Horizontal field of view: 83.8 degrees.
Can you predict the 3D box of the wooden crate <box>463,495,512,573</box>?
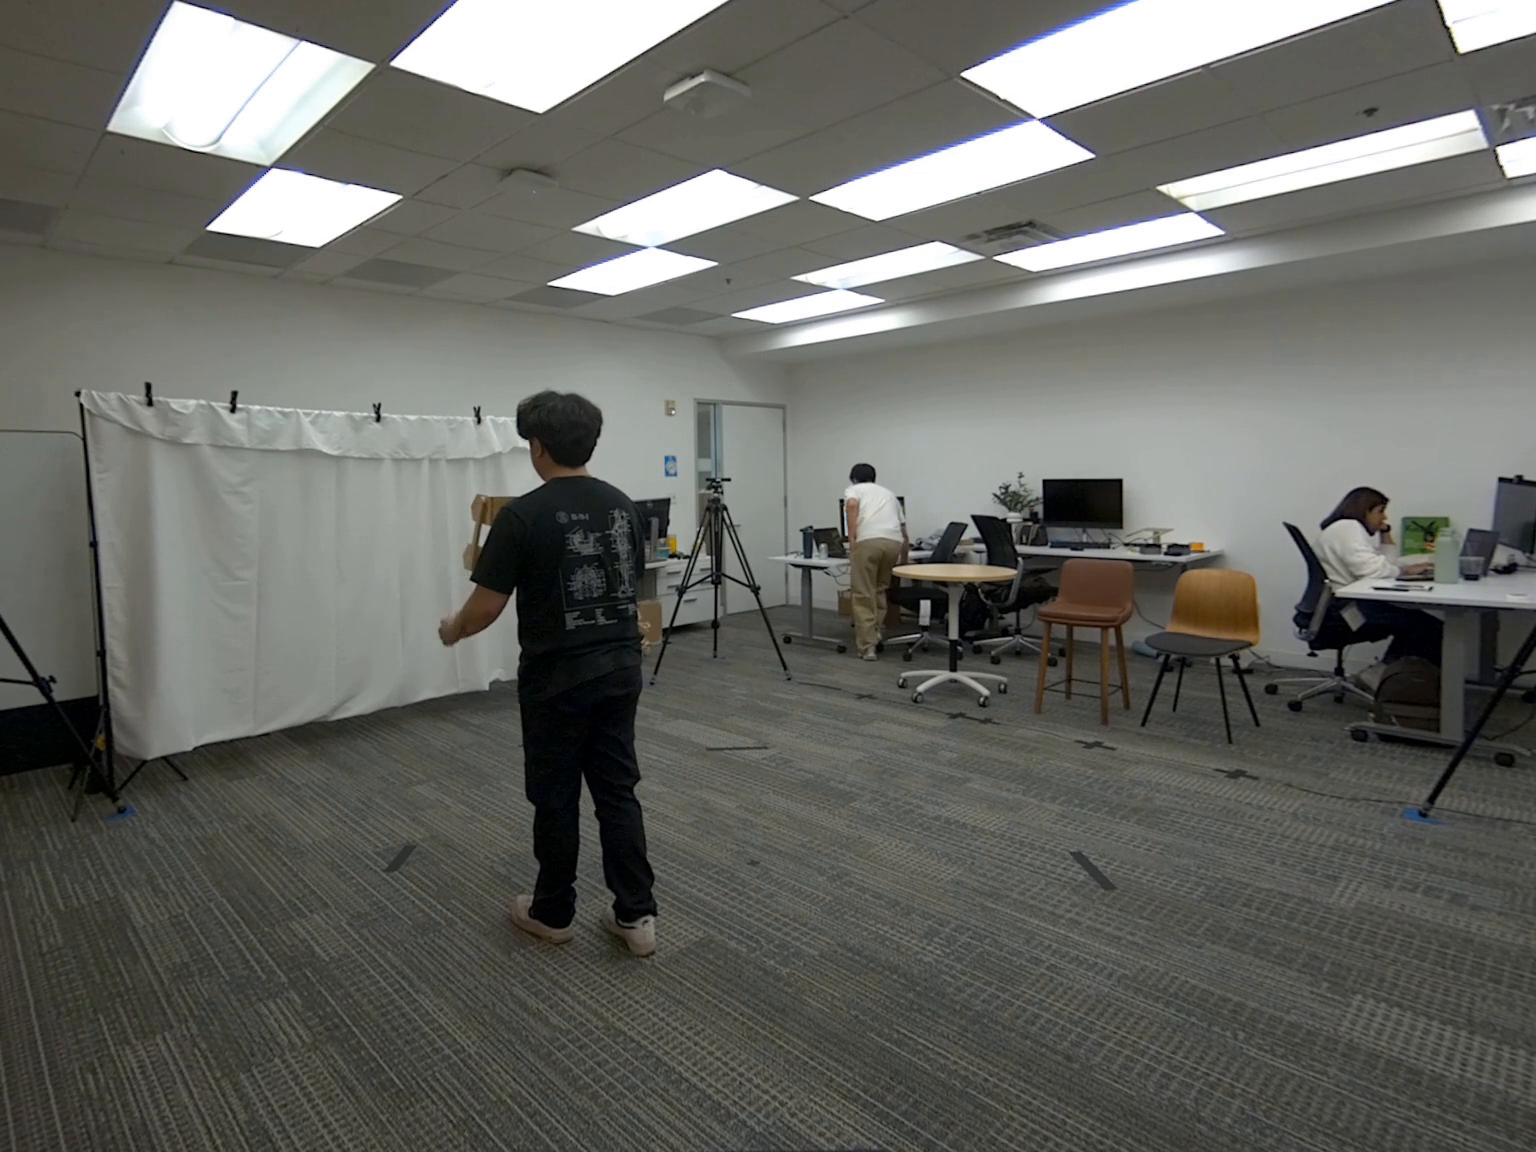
[{"bbox_3d":[-0.818,-0.150,2.860,0.316,0.272,0.311,-4,9,-33],"label":"wooden crate"}]
